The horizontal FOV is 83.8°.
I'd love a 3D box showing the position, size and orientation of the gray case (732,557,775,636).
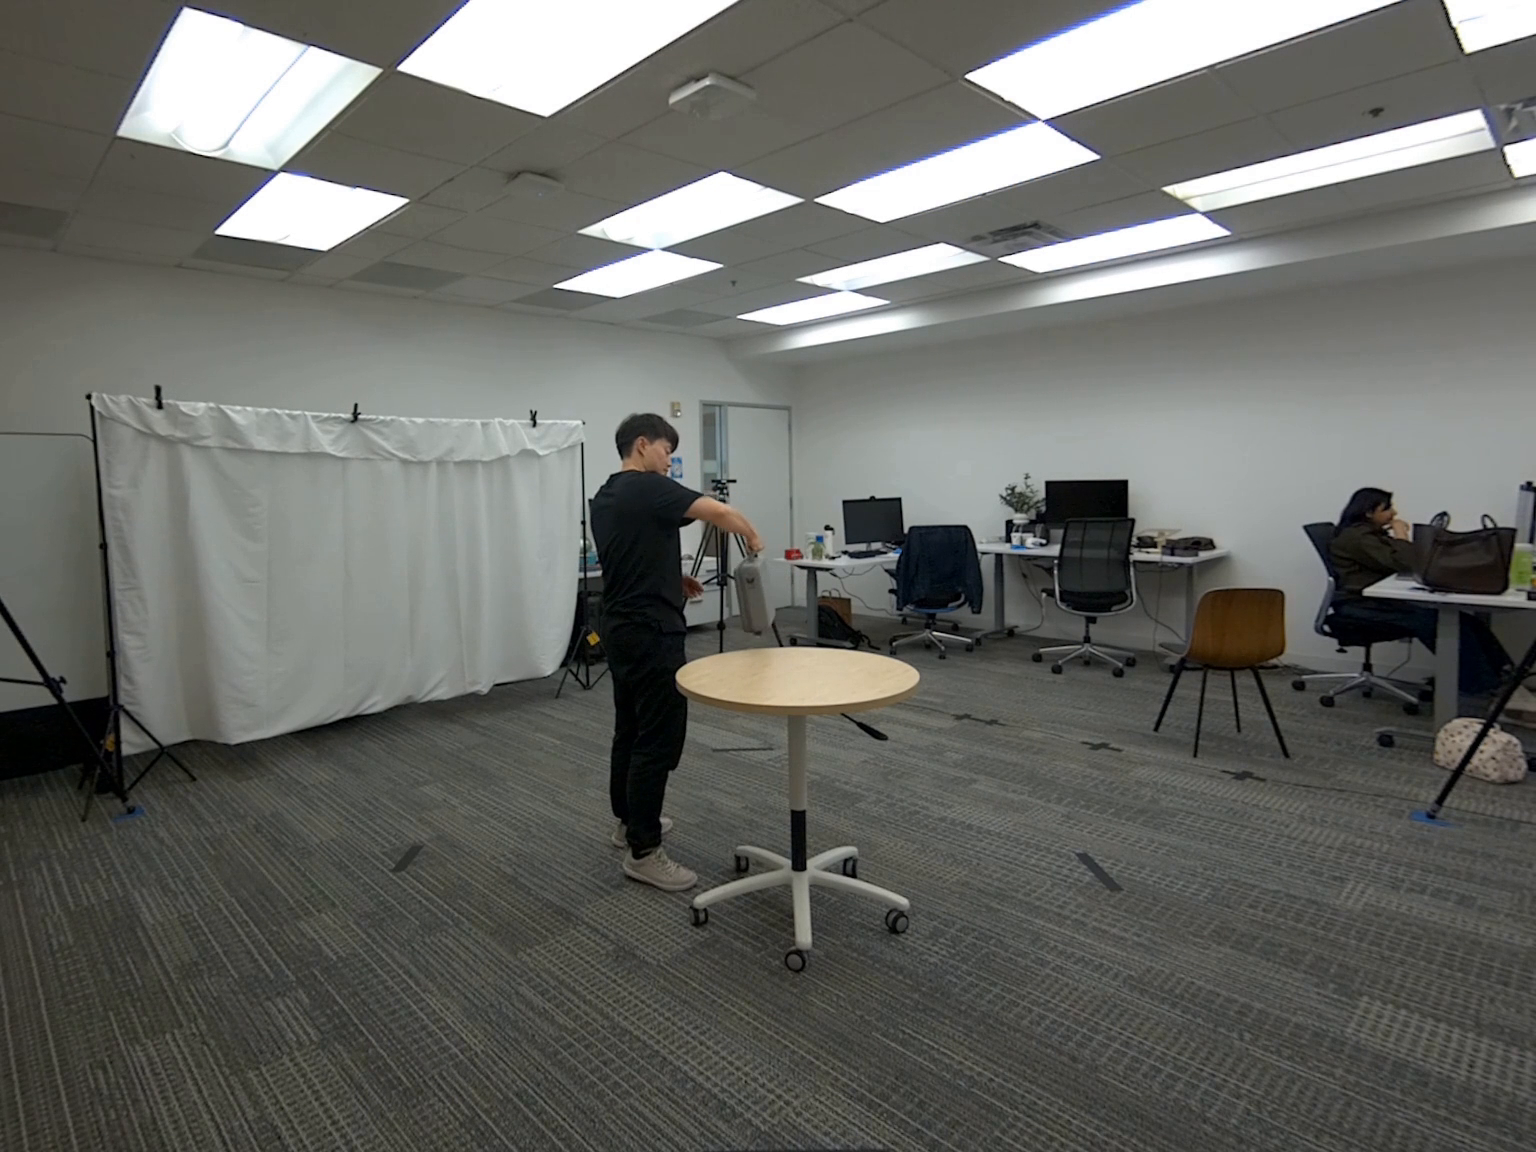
[{"bbox_3d":[-0.056,0.057,3.211,0.105,0.258,0.257,-7,9,6],"label":"gray case"}]
